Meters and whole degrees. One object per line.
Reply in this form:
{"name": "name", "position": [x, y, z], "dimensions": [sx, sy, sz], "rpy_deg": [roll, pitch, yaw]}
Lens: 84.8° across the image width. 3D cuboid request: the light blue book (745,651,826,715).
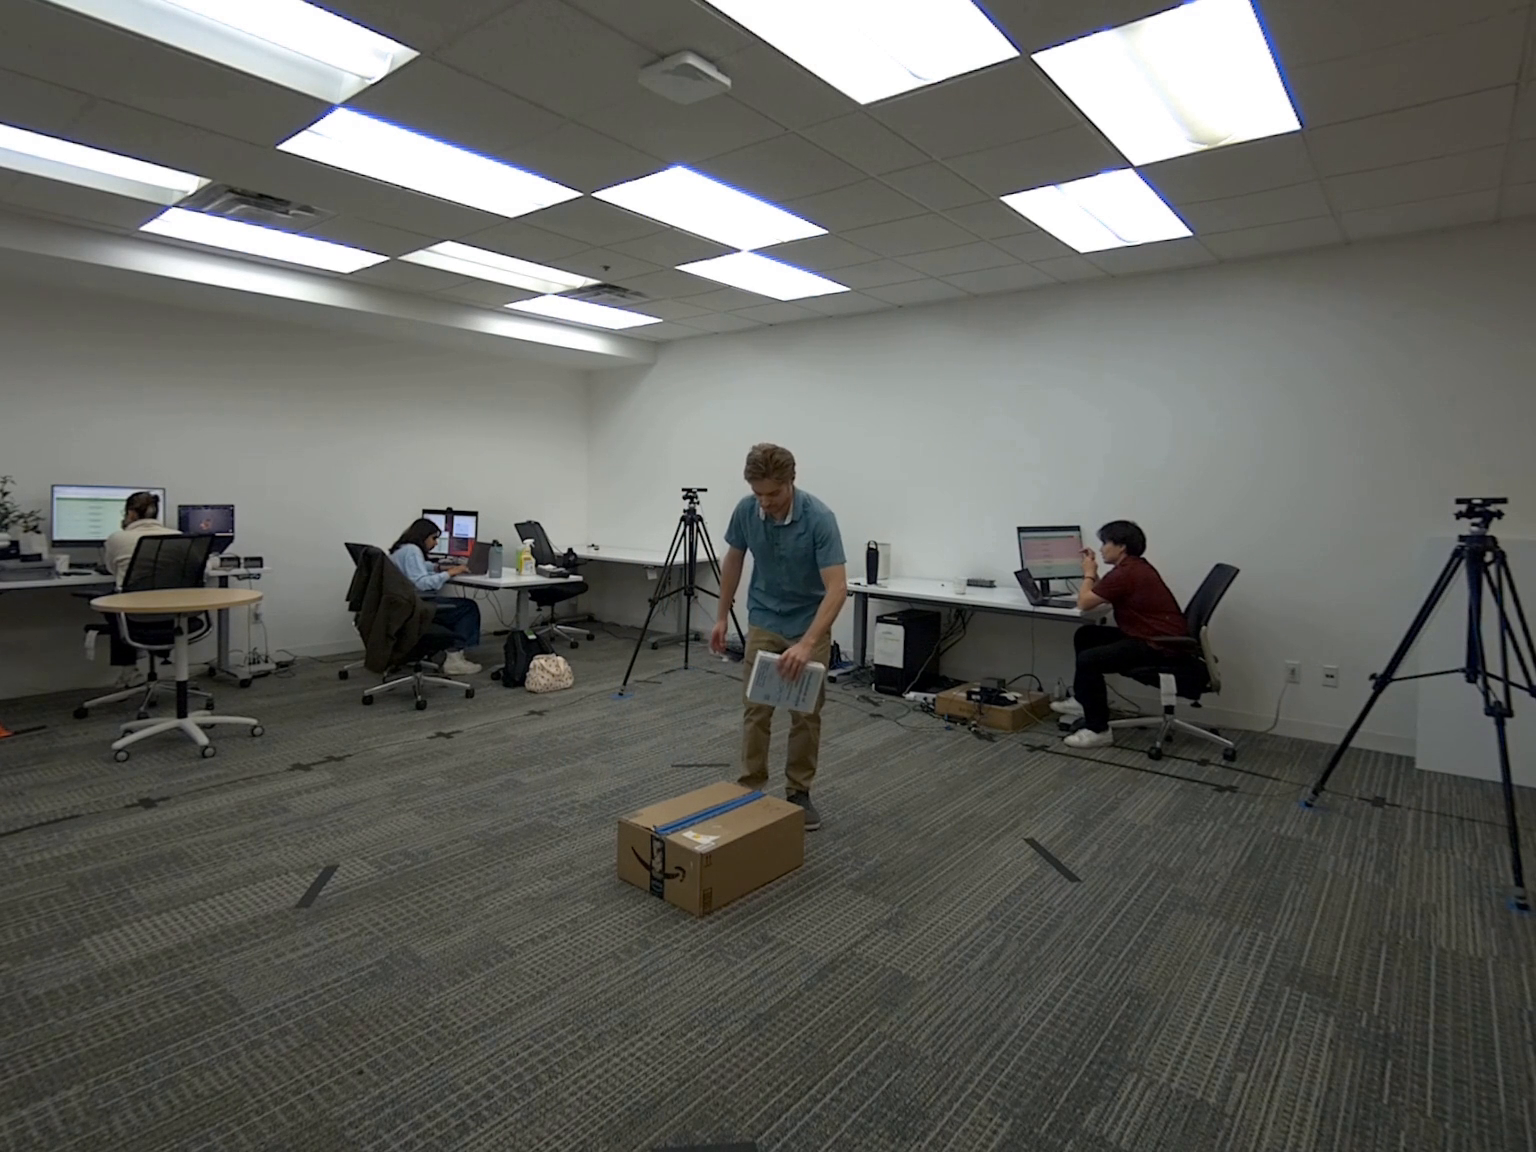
{"name": "light blue book", "position": [0.055, 0.398, 3.258], "dimensions": [0.258, 0.190, 0.060], "rpy_deg": [13, 6, -9]}
